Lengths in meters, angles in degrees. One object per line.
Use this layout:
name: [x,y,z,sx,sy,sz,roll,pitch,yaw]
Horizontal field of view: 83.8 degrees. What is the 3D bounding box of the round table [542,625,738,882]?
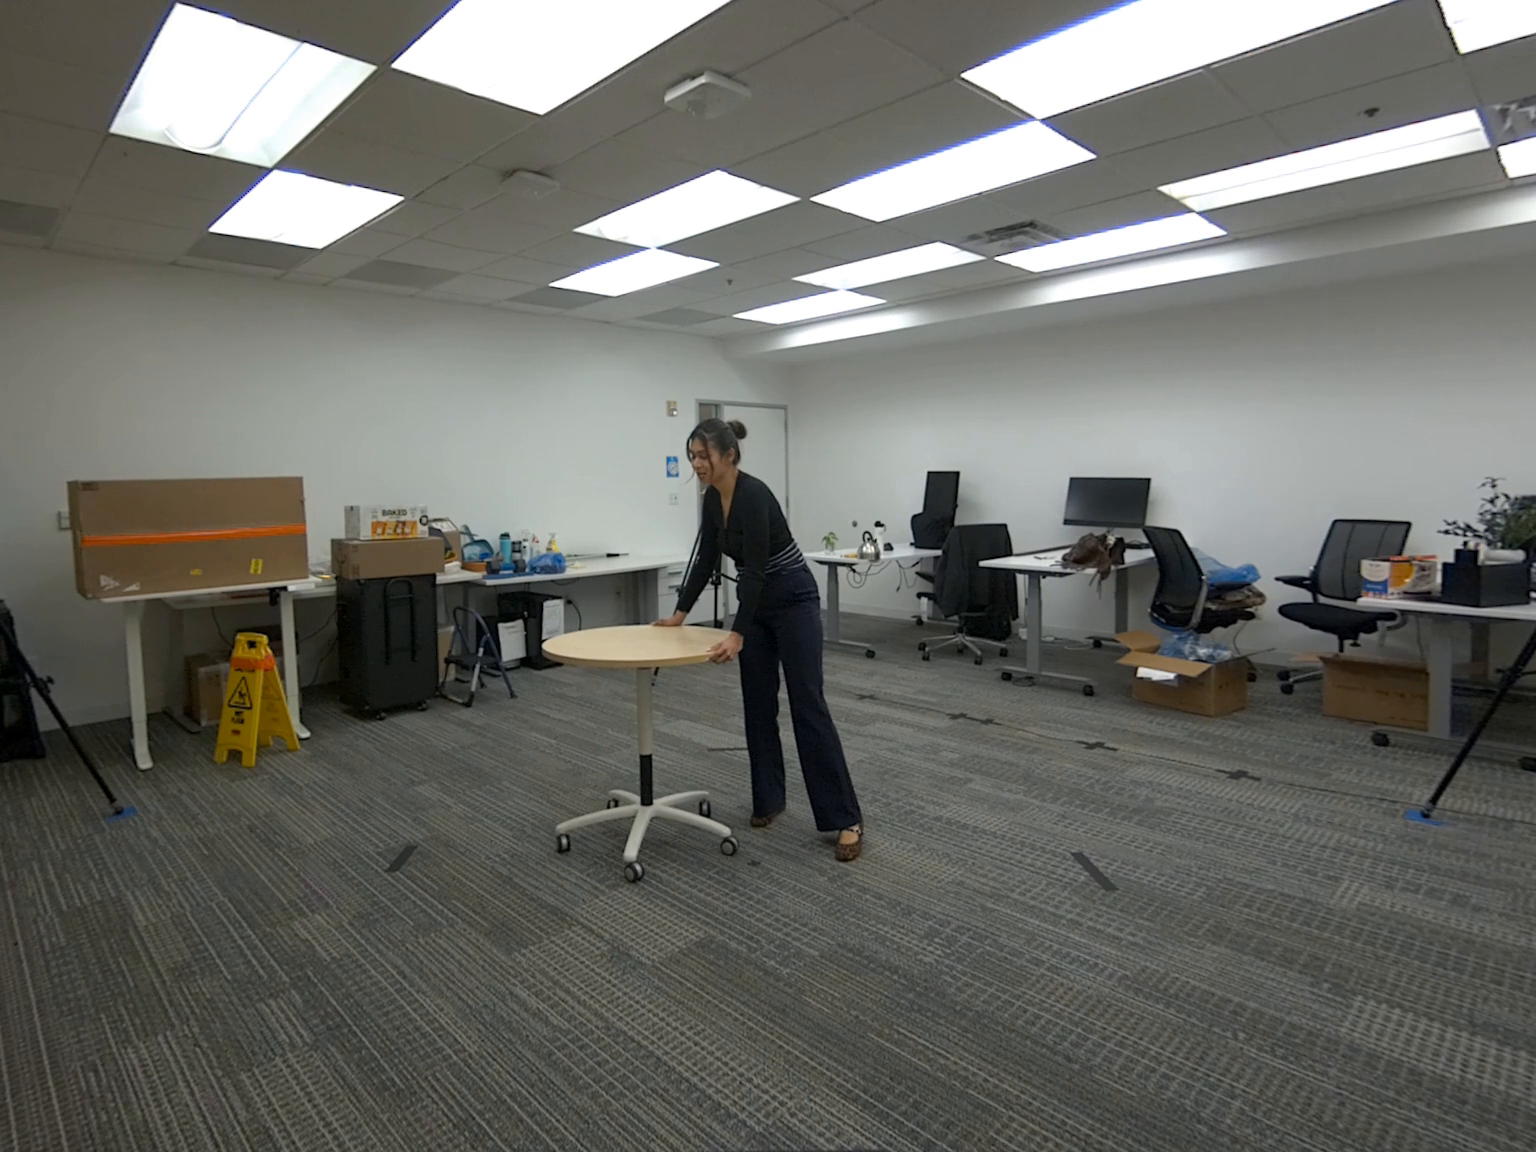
round table: [-0.461,0.641,3.296,0.763,0.791,0.768,-1,4,-2]
